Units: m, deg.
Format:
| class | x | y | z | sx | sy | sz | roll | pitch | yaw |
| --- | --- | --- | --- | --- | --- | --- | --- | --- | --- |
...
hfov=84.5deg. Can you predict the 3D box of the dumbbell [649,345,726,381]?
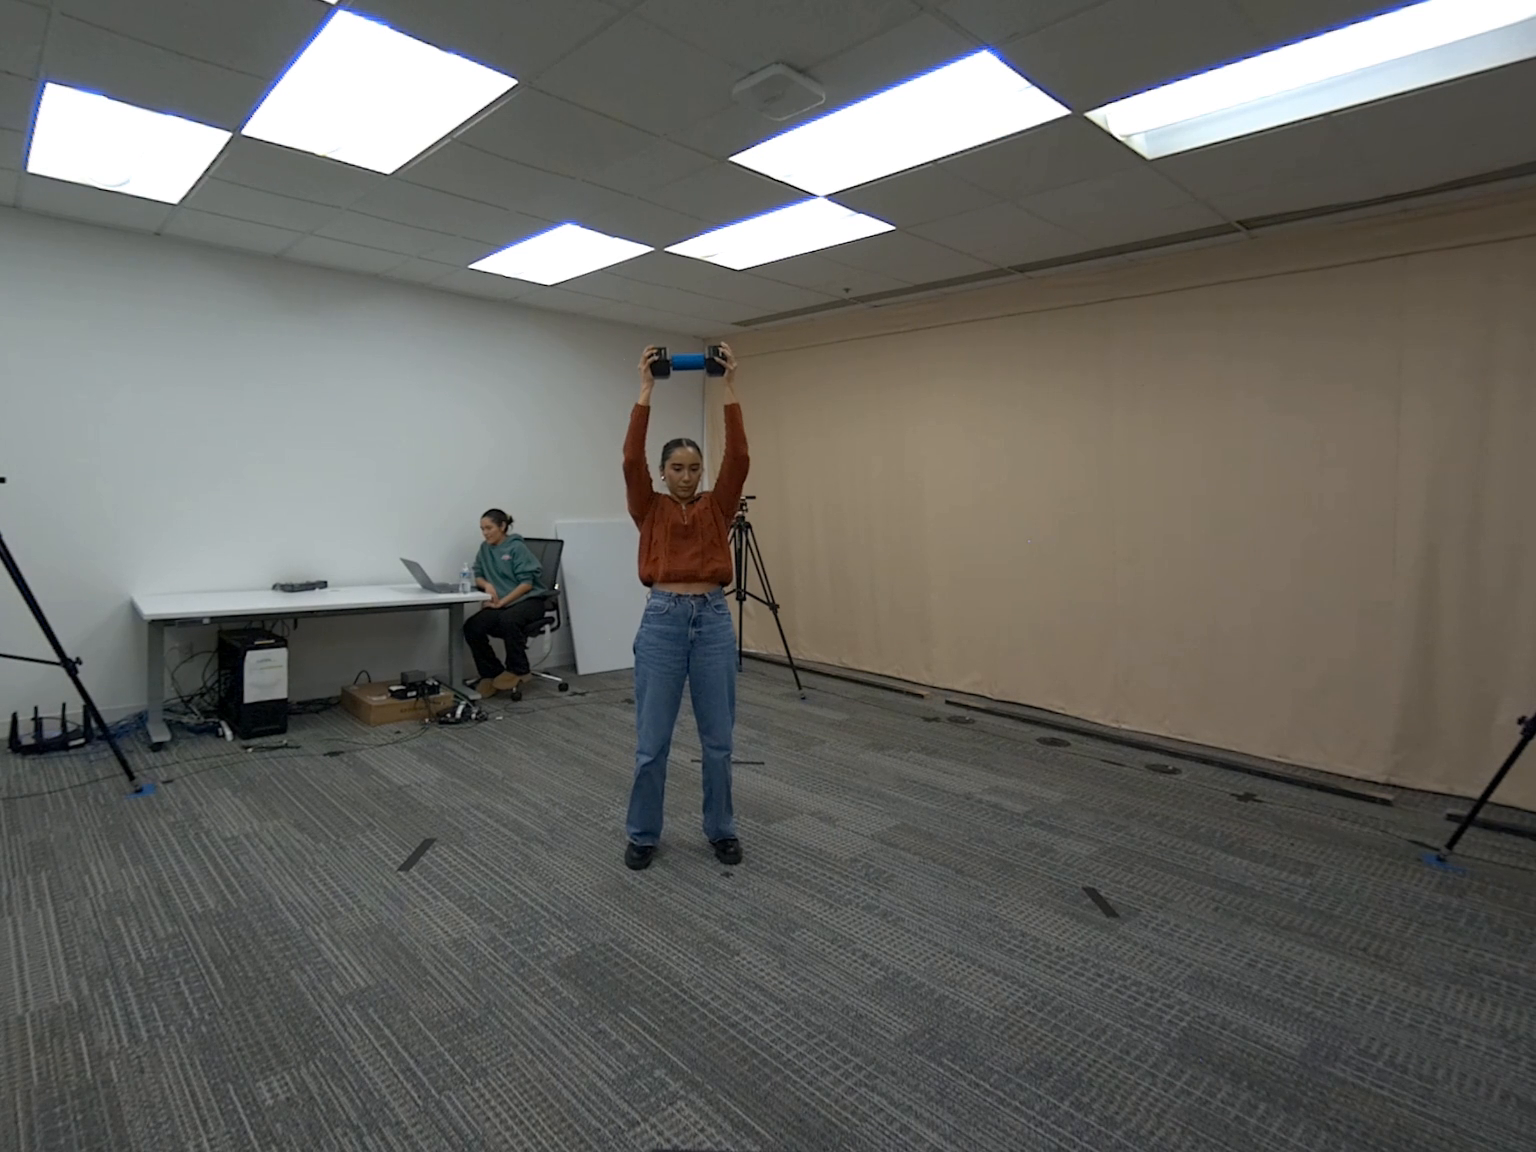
| class | x | y | z | sx | sy | sz | roll | pitch | yaw |
| --- | --- | --- | --- | --- | --- | --- | --- | --- | --- |
| dumbbell | -0.312 | -0.784 | 3.134 | 0.293 | 0.125 | 0.107 | -1 | -32 | -3 |
